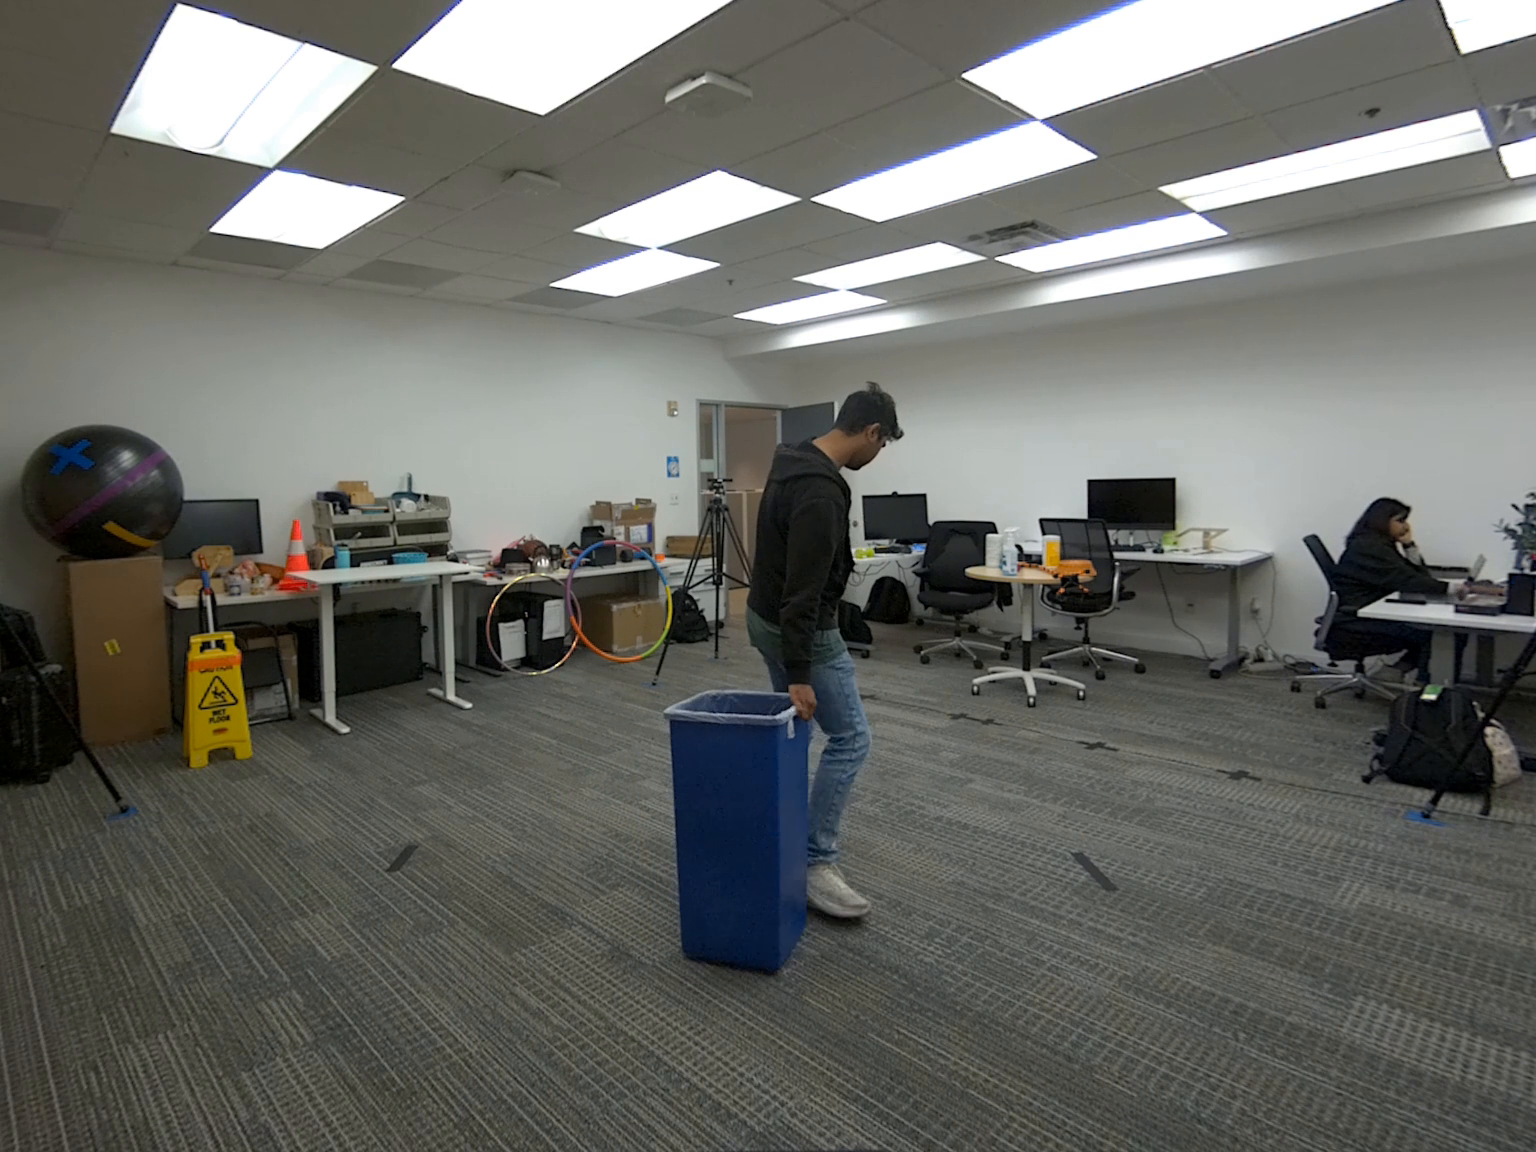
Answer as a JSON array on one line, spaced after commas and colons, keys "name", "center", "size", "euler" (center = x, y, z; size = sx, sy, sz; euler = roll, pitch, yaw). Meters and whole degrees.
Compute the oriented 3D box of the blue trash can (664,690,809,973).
[{"name": "blue trash can", "center": [-0.070, 0.737, 2.589], "size": [0.385, 0.713, 0.368], "euler": [-1, 1, 19]}]
